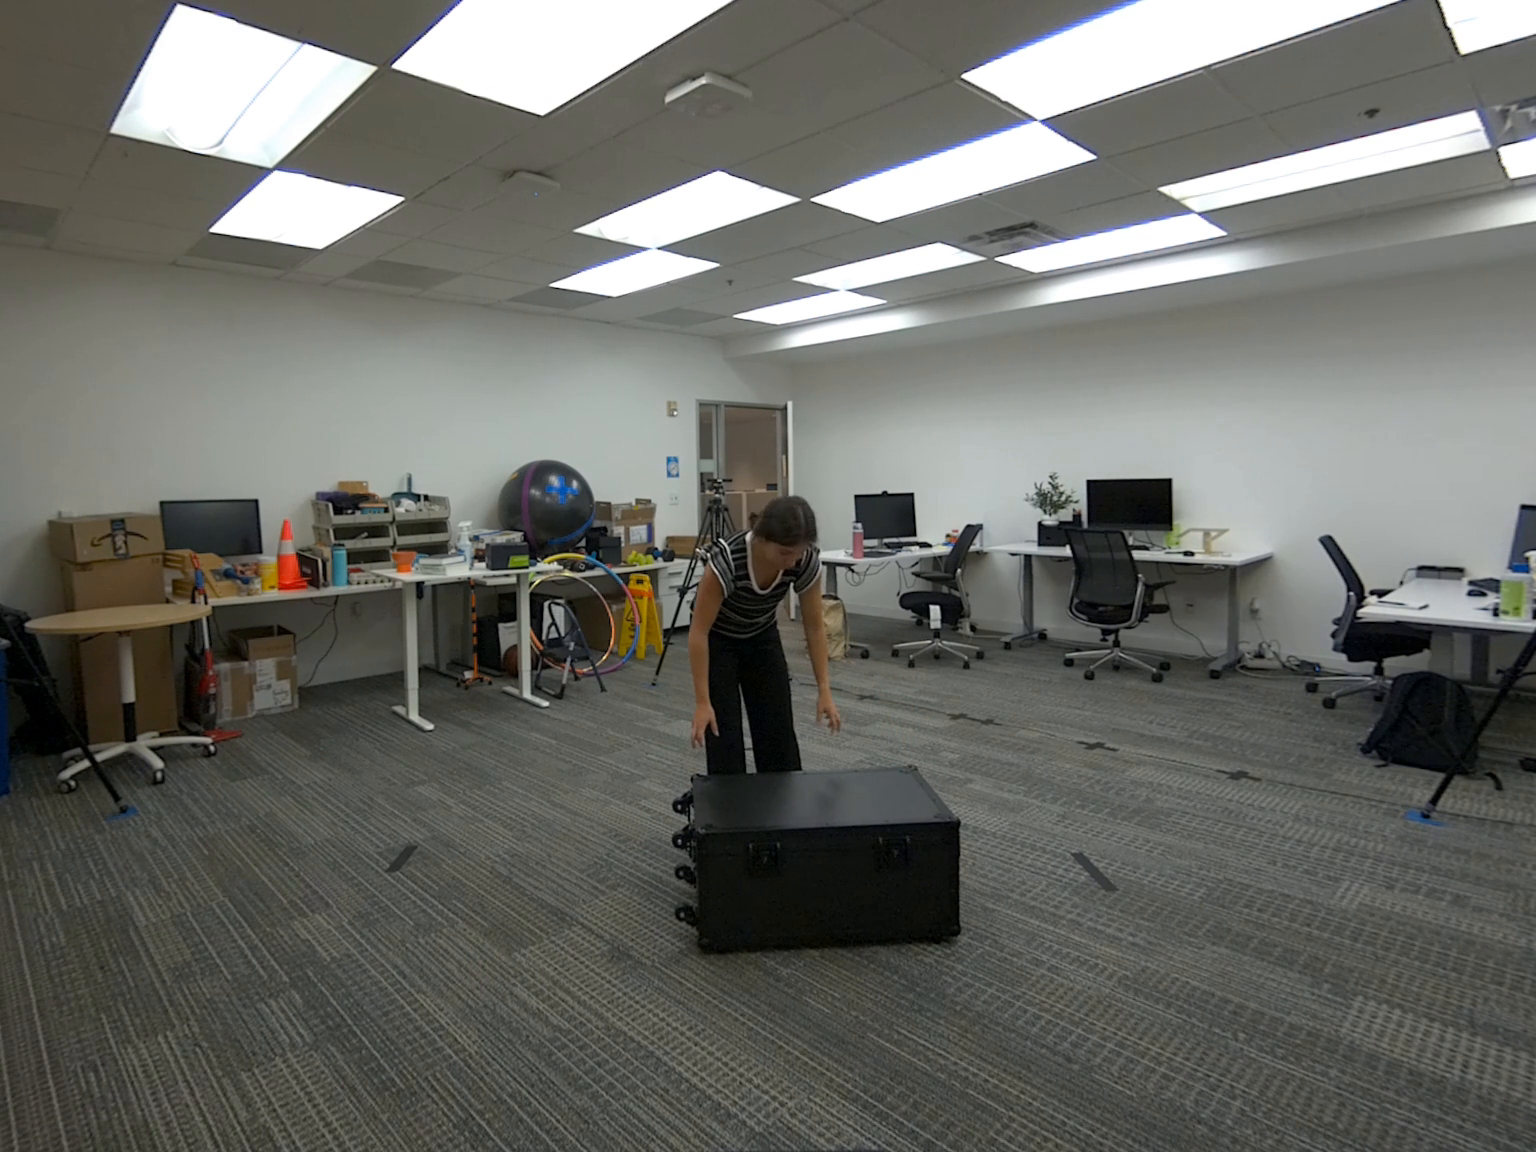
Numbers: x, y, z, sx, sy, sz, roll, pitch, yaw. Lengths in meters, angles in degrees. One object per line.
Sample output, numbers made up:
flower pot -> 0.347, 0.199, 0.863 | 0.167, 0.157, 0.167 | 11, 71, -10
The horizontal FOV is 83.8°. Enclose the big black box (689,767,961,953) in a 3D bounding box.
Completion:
big black box -> 0.124, 0.888, 2.751 | 0.858, 0.395, 0.526 | -1, 5, -4
